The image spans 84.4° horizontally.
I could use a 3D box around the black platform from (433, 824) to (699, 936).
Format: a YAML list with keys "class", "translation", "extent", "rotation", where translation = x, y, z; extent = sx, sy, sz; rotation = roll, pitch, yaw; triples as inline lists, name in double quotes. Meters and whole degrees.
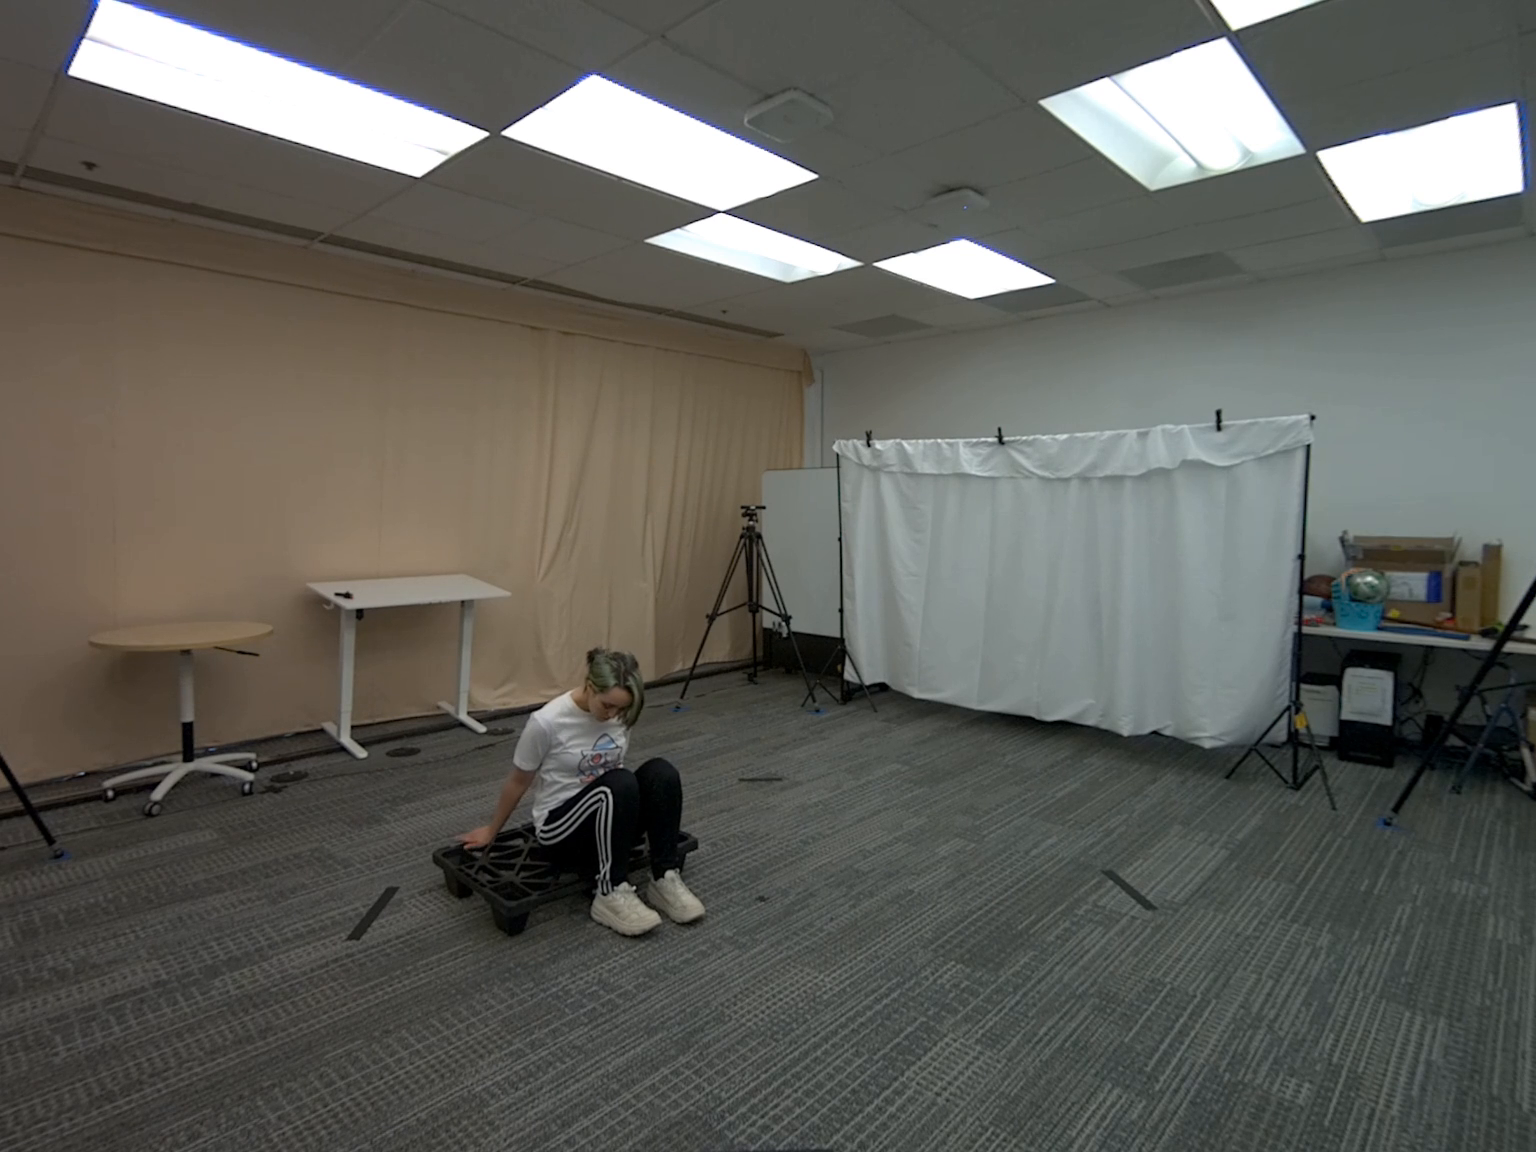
- class: "black platform"
  translation: [-0.741, 1.072, 3.140]
  extent: [0.781, 0.143, 0.626]
  rotation: [-5, 7, -43]
